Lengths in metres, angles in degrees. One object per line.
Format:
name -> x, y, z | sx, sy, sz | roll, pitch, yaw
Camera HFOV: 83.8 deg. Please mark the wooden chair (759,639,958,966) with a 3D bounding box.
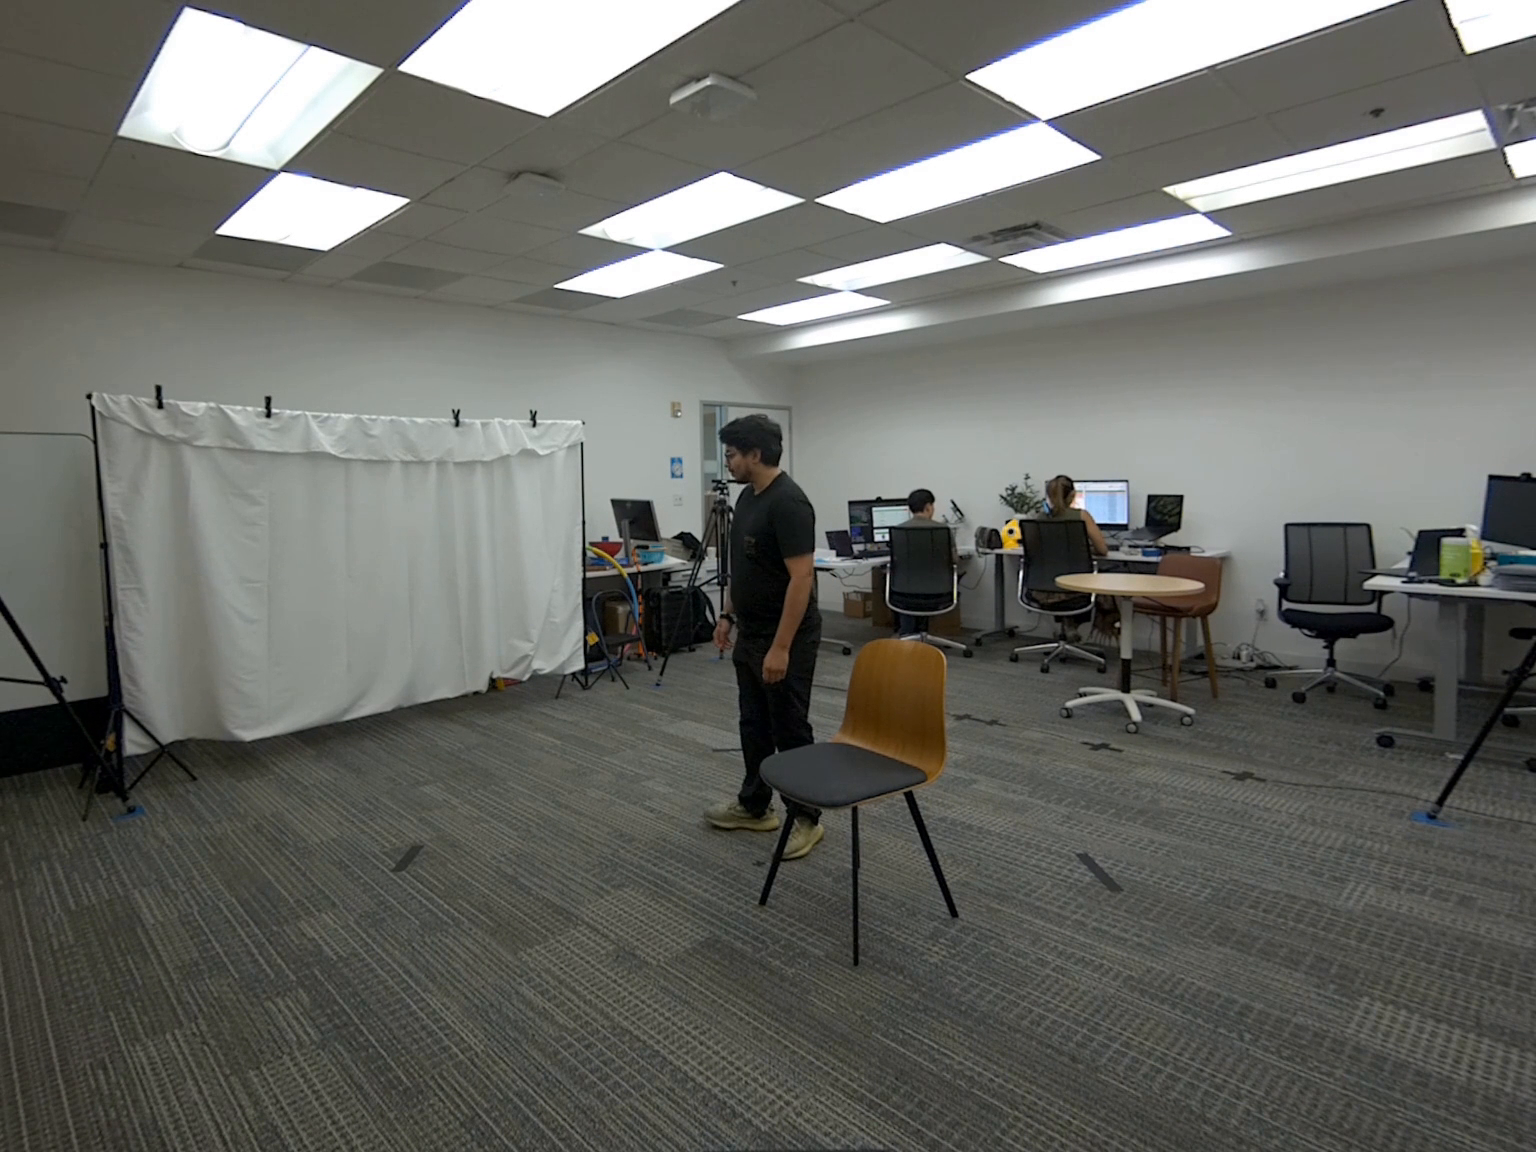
wooden chair -> 0.277, 0.660, 2.716 | 0.508, 0.876, 0.492 | 1, 2, -38
